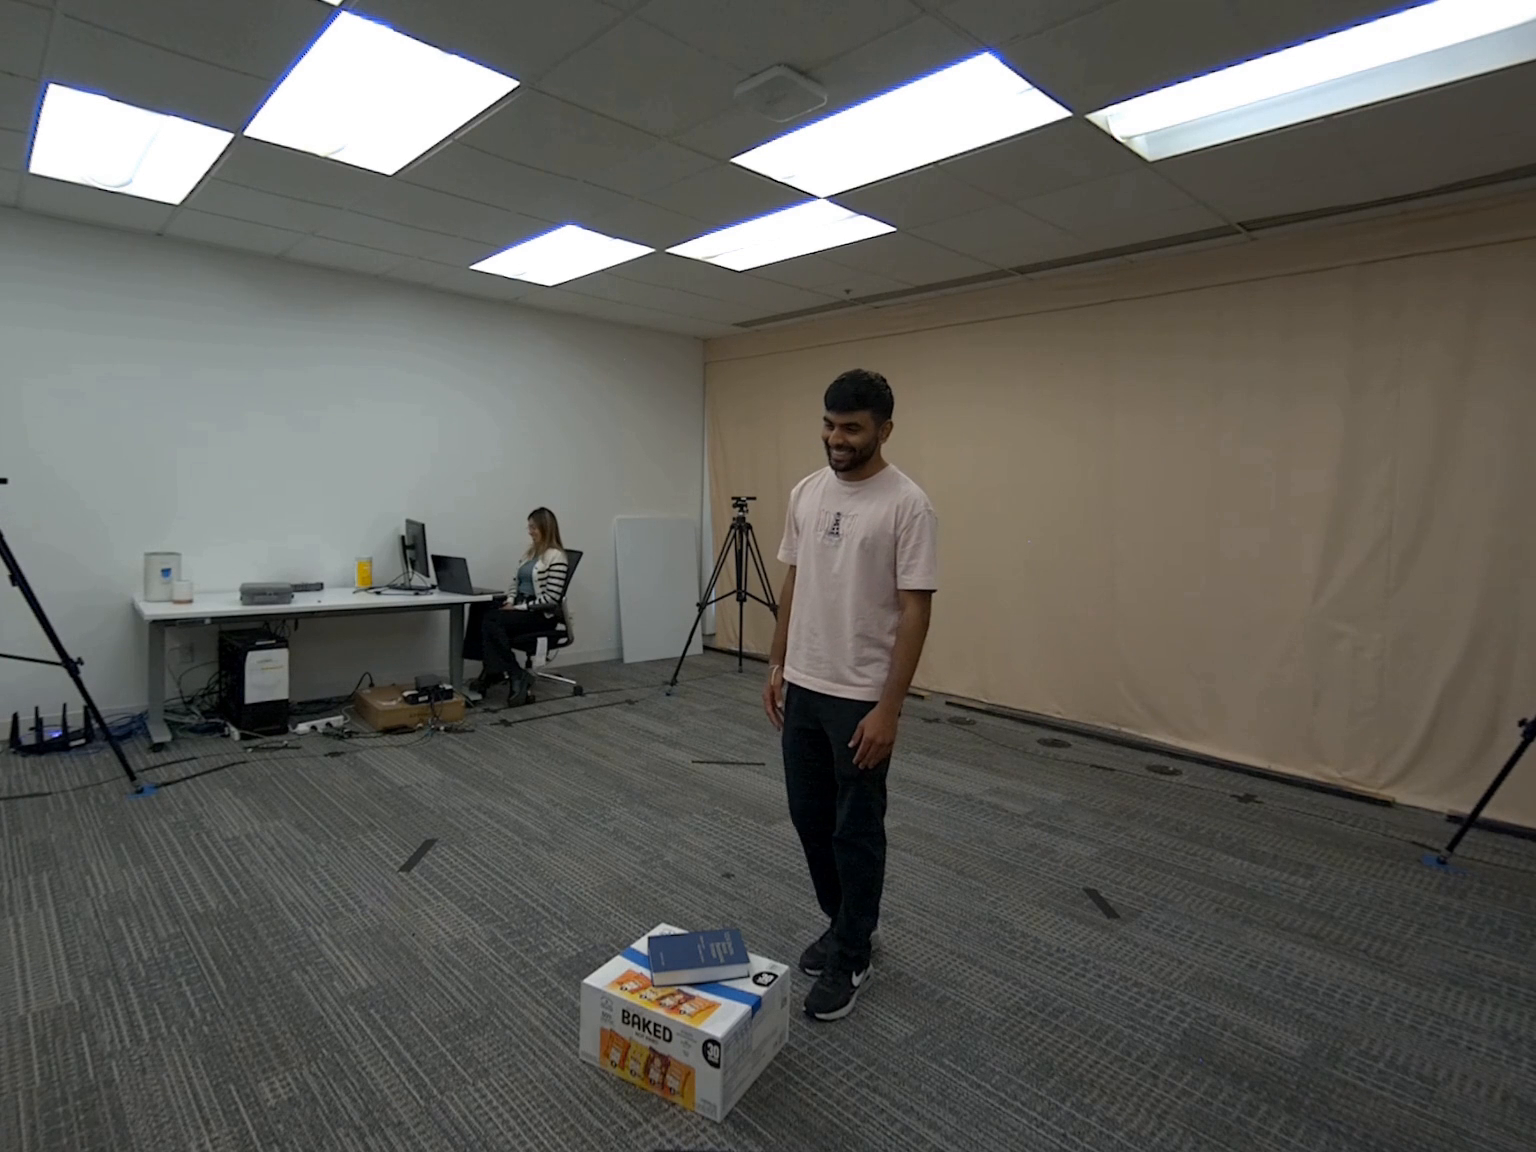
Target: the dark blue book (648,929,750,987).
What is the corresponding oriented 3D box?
[{"bbox_3d":[-0.192,0.980,2.140,0.243,0.045,0.165,0,7,-11],"label":"dark blue book"}]
